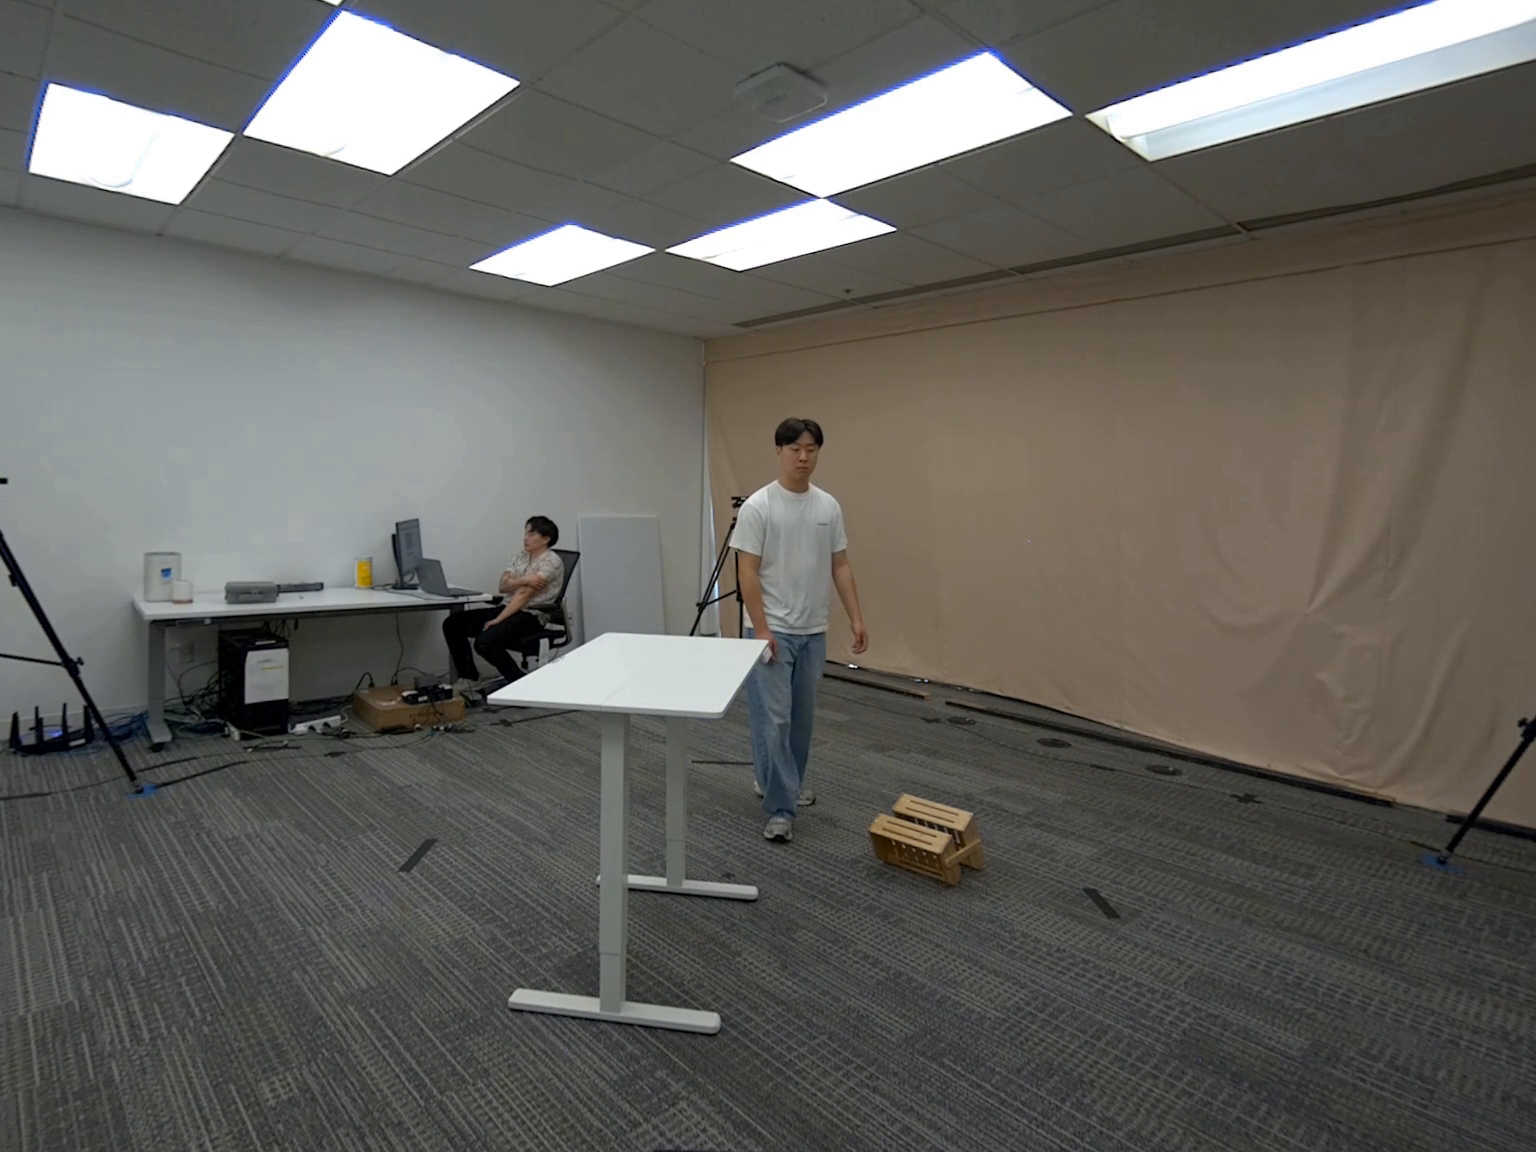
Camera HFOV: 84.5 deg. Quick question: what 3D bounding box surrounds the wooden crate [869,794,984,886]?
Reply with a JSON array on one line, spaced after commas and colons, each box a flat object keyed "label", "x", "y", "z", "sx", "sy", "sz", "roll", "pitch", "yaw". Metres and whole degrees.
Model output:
[{"label": "wooden crate", "x": 0.594, "y": 1.028, "z": 3.193, "sx": 0.332, "sy": 0.296, "sz": 0.272, "roll": 5, "pitch": 33, "yaw": 40}]
